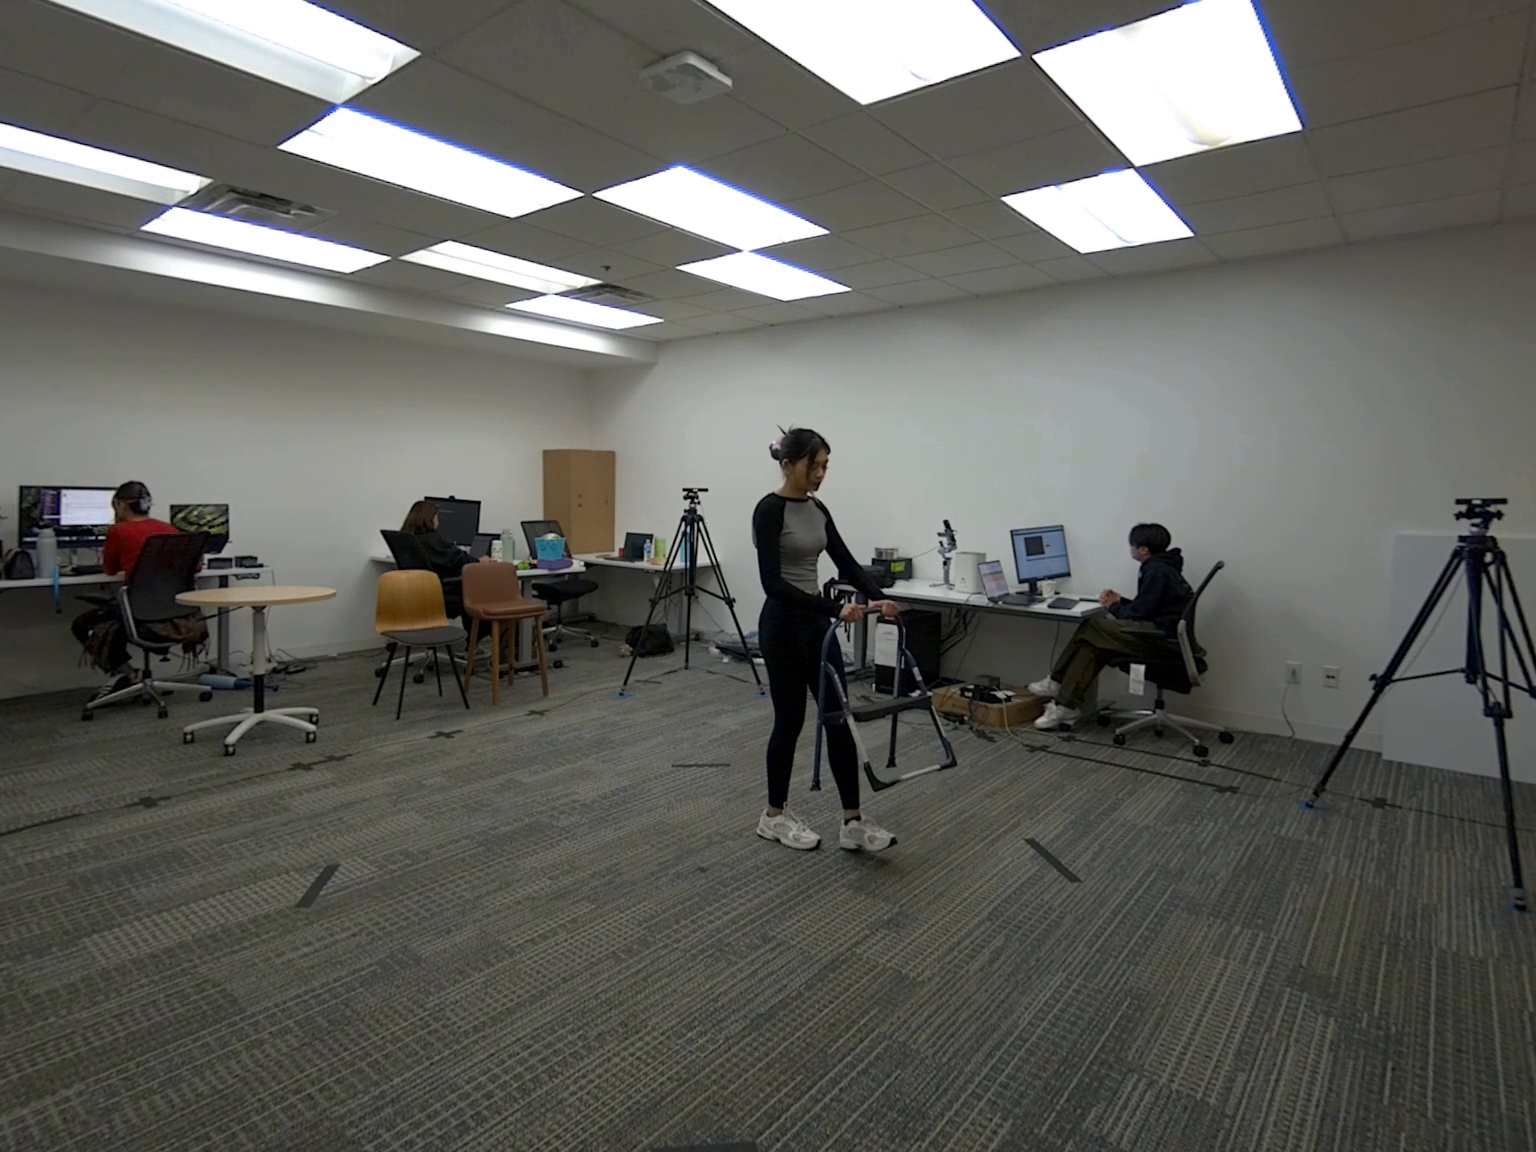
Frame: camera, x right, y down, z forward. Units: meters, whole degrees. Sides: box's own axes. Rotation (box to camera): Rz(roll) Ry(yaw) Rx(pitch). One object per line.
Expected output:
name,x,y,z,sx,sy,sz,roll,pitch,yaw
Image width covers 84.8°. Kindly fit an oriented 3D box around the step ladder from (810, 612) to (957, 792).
step ladder,0.358,0.433,3.106,0.418,0.612,0.356,-4,-11,-38
